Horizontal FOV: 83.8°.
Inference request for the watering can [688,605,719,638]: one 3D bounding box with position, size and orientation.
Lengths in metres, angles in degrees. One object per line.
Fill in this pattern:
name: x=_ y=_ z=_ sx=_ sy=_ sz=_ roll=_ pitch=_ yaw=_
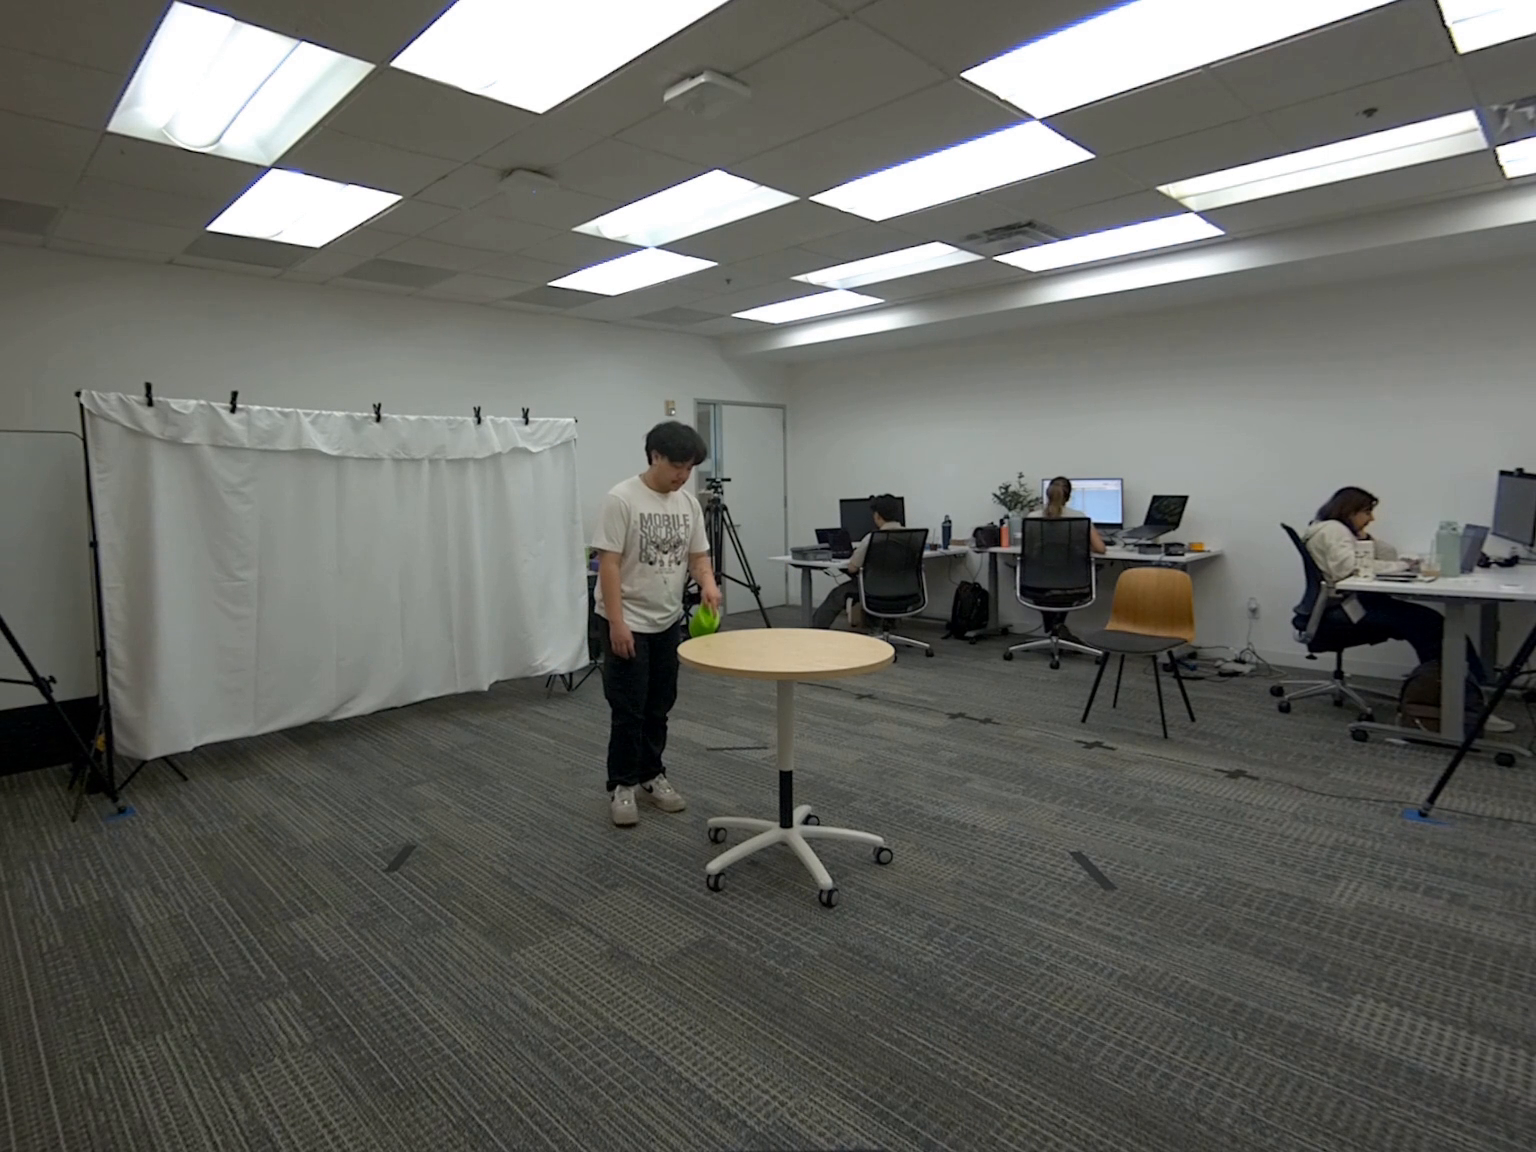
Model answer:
watering can: x=-0.261 y=0.220 z=3.493 sx=0.096 sy=0.284 sz=0.175 roll=16 pitch=-36 yaw=-15
